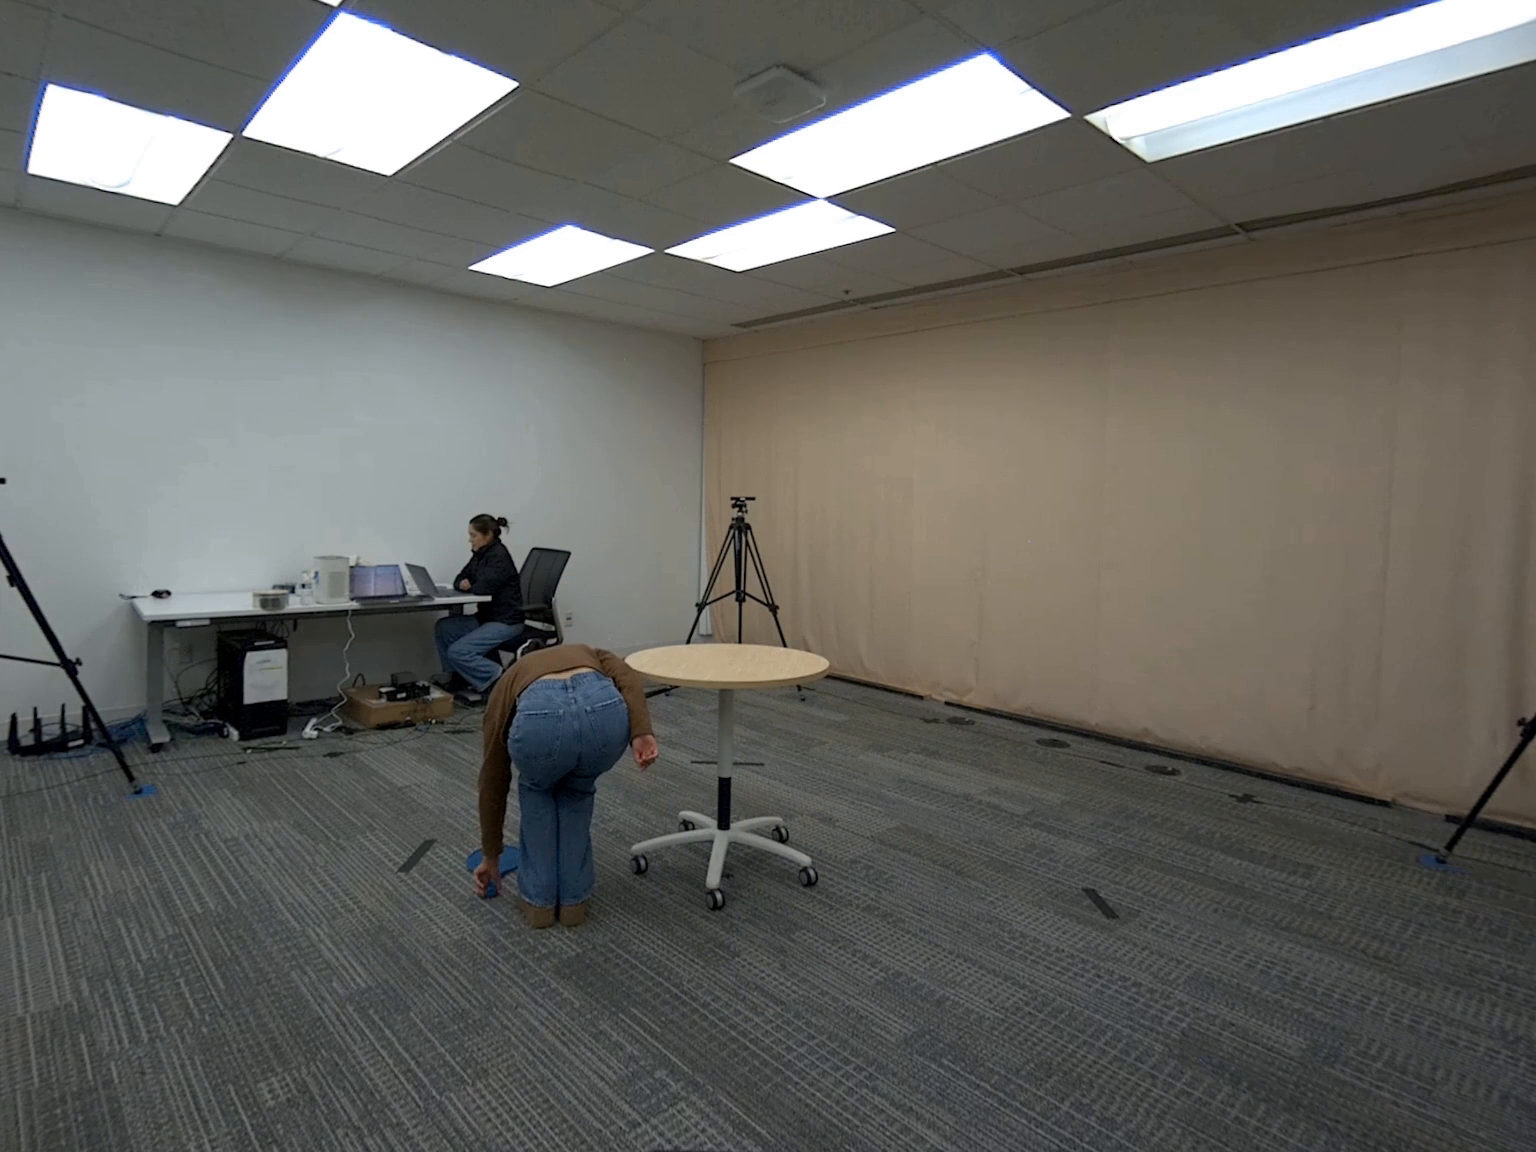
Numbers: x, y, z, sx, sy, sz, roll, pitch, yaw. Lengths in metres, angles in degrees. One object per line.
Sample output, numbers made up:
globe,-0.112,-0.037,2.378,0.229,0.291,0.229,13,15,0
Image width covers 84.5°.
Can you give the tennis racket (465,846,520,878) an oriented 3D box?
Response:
tennis racket,-1.003,1.066,3.095,0.211,0.031,0.439,-1,5,-16
